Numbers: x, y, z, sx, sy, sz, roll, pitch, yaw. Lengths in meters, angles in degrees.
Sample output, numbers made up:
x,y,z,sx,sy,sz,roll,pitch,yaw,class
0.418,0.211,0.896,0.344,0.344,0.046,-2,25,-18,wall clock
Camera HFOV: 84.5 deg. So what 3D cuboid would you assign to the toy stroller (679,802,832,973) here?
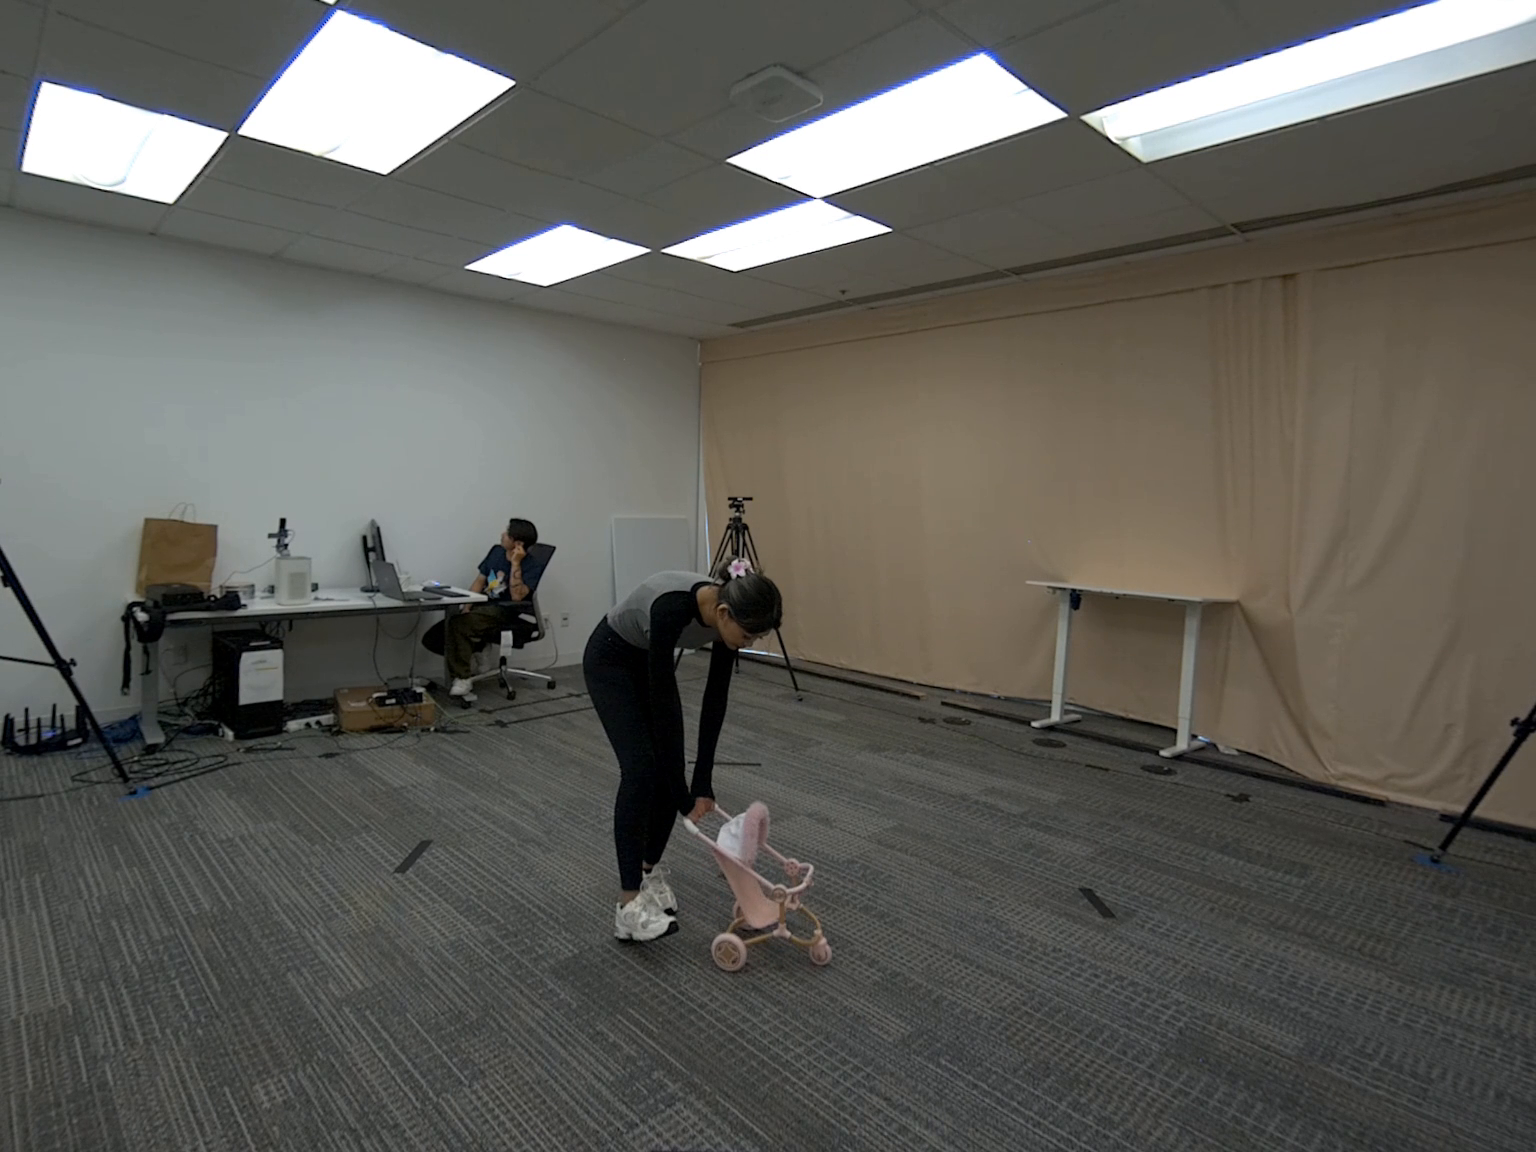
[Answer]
x,y,z,sx,sy,sz,roll,pitch,yaw,class
-0.025,0.938,2.566,0.345,0.536,0.278,-14,-1,20,toy stroller
